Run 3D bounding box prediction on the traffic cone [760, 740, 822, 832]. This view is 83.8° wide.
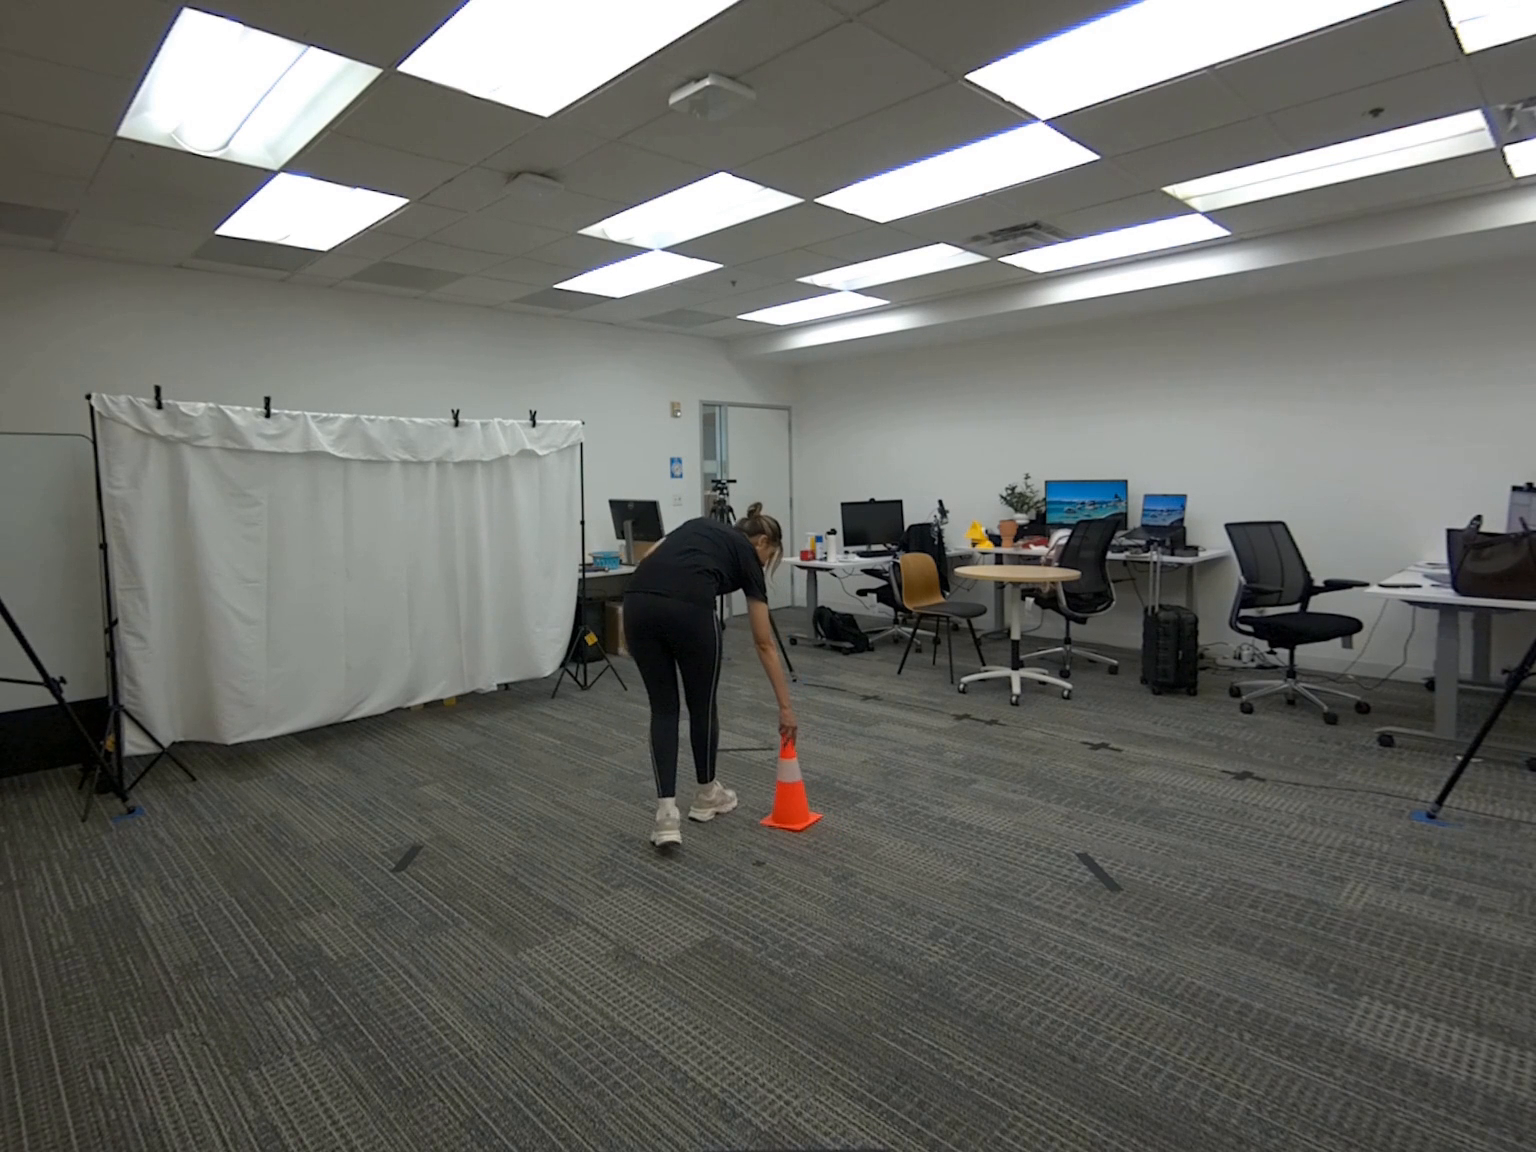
[{"bbox_3d":[0.081,0.812,3.504,0.210,0.384,0.198,-2,0,36],"label":"traffic cone"}]
